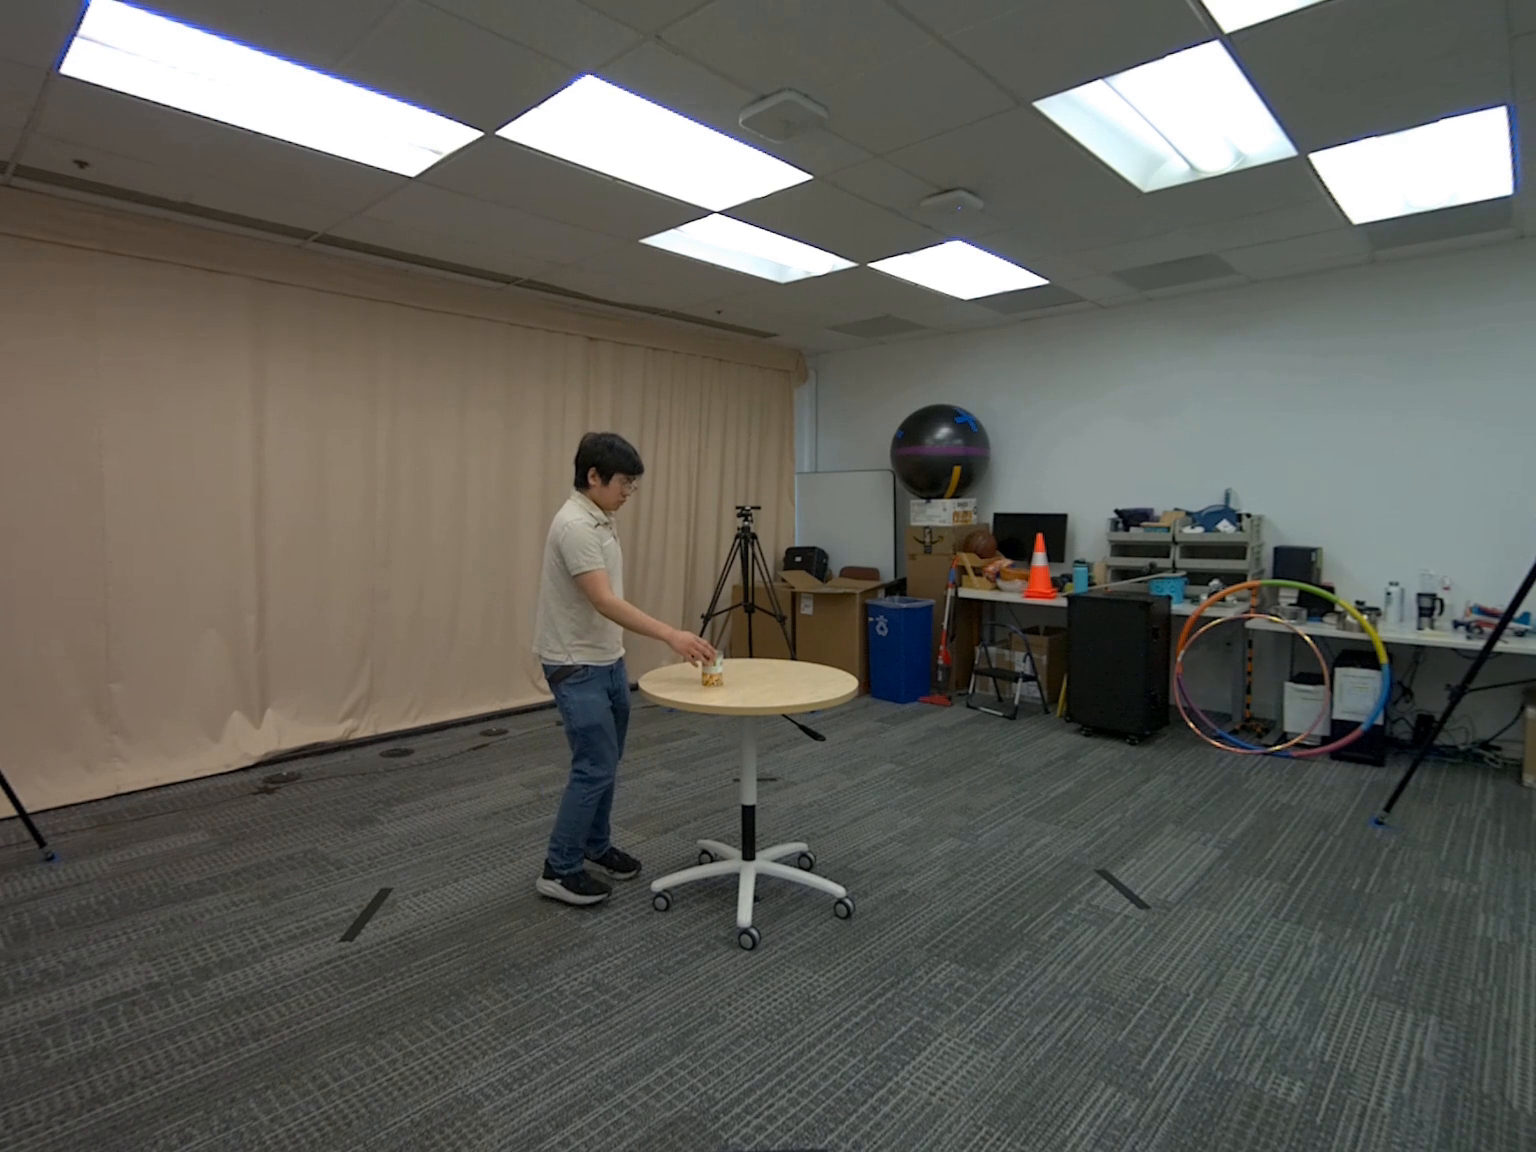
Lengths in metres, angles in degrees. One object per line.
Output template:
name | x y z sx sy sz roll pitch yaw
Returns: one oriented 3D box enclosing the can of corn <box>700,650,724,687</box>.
can of corn | -0.192 0.320 2.875 0.074 0.110 0.074 -4 6 -1
